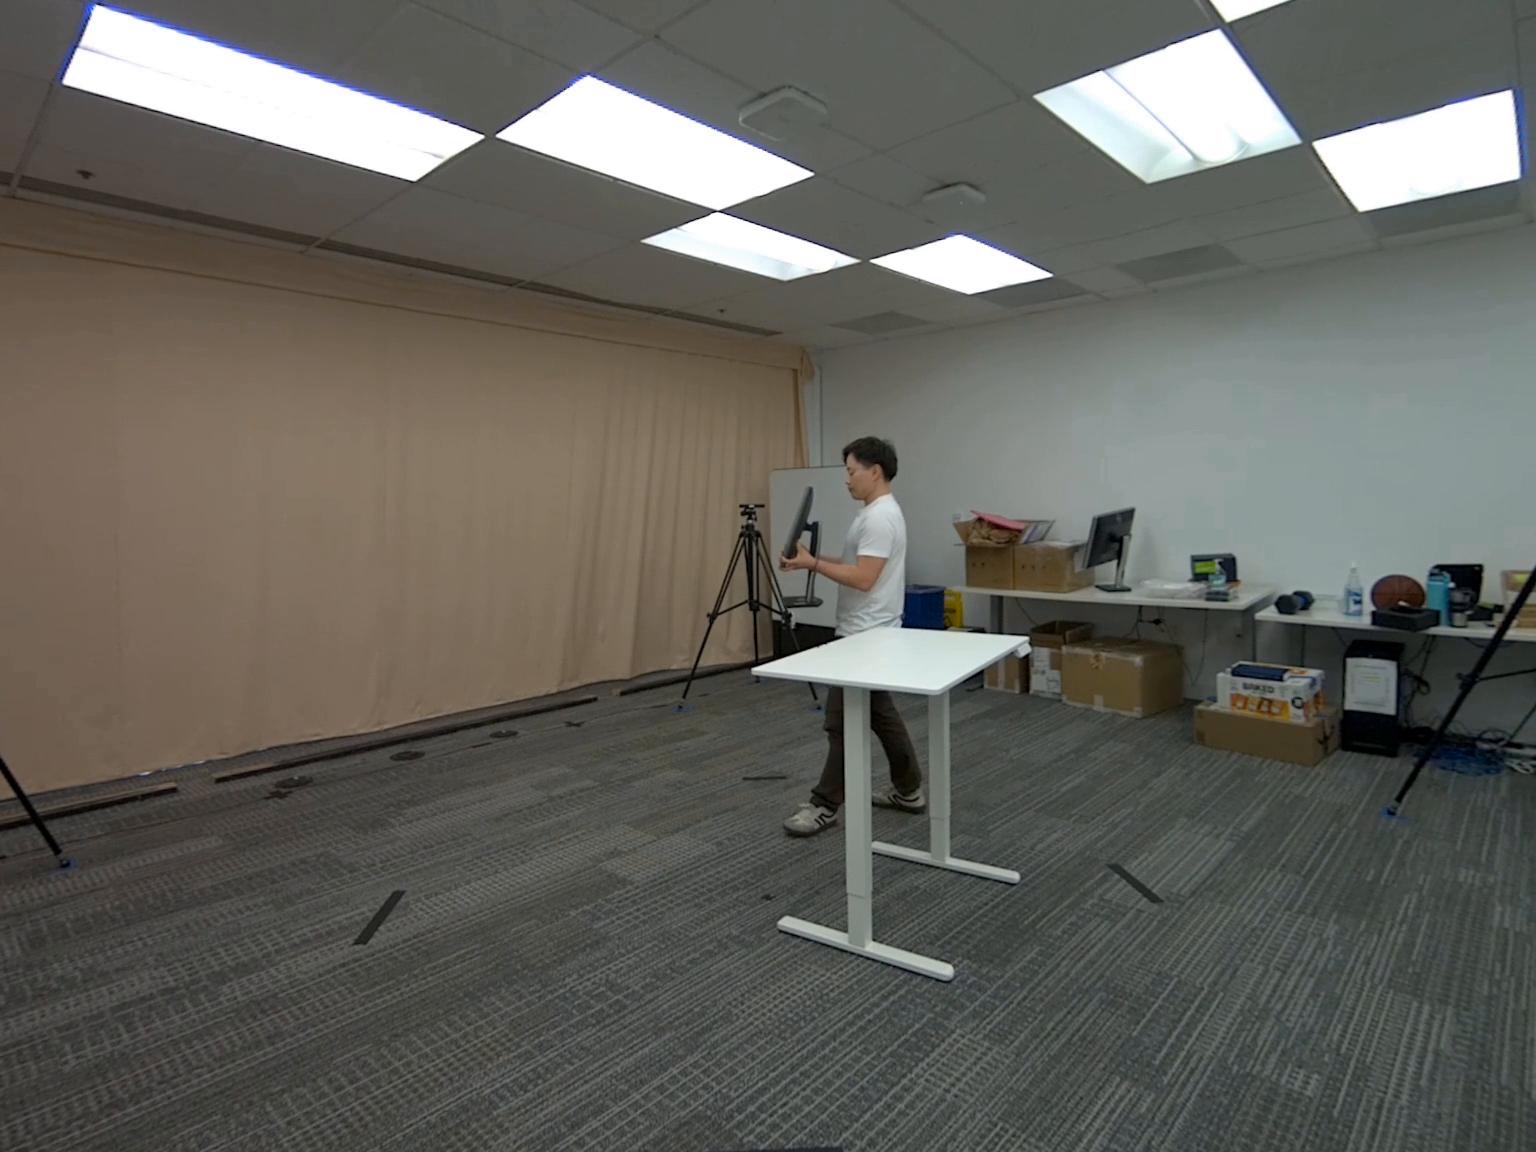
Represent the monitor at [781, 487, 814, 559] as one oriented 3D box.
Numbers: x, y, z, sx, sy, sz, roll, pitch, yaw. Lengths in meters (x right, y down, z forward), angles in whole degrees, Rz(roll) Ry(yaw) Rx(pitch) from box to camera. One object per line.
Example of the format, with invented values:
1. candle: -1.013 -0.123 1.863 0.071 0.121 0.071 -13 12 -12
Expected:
1. monitor: 0.158 -0.135 3.719 0.187 0.521 0.539 3 4 1
